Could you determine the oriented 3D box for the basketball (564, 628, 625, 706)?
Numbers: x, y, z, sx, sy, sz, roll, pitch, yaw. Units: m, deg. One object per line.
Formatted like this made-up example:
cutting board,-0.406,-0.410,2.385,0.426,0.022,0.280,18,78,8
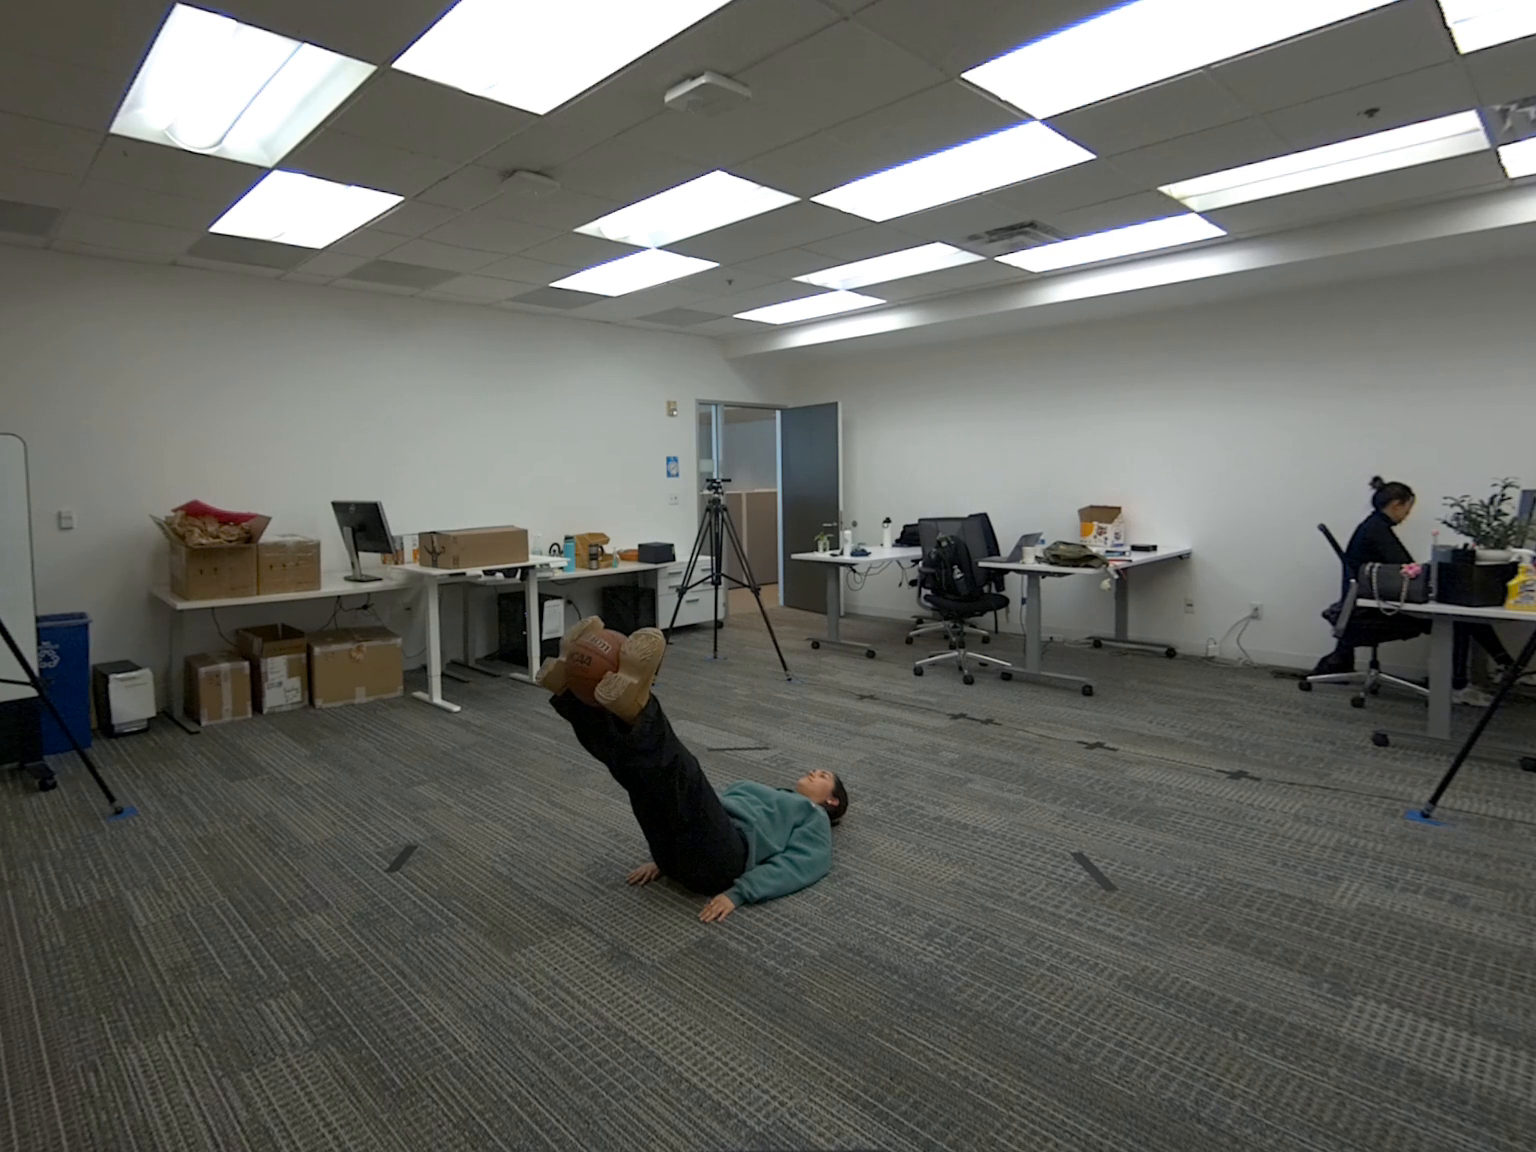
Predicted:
basketball,-0.509,0.288,2.629,0.236,0.235,0.237,-1,4,-2
